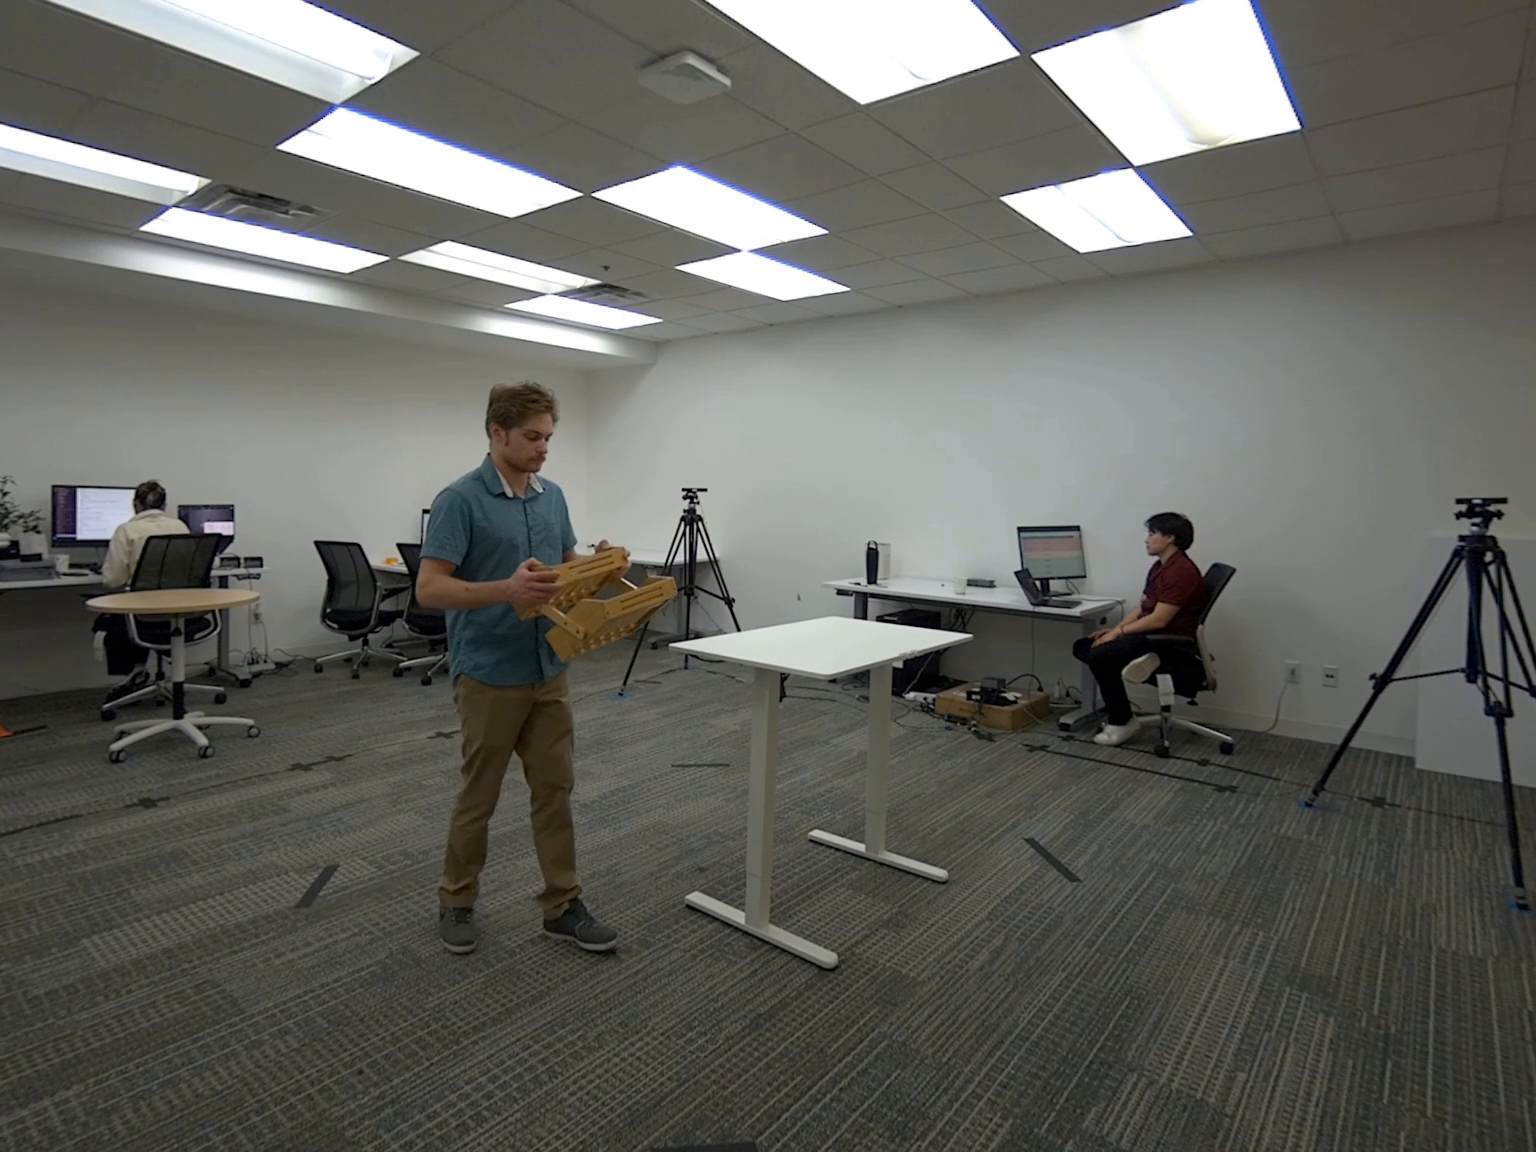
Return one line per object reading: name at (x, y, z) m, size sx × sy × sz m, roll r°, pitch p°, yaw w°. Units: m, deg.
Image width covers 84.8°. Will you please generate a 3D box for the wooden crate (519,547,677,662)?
wooden crate at (-0.510, 0.045, 2.401) m, size 0.303 × 0.278 × 0.318 m, roll -41°, pitch -12°, yaw 32°
